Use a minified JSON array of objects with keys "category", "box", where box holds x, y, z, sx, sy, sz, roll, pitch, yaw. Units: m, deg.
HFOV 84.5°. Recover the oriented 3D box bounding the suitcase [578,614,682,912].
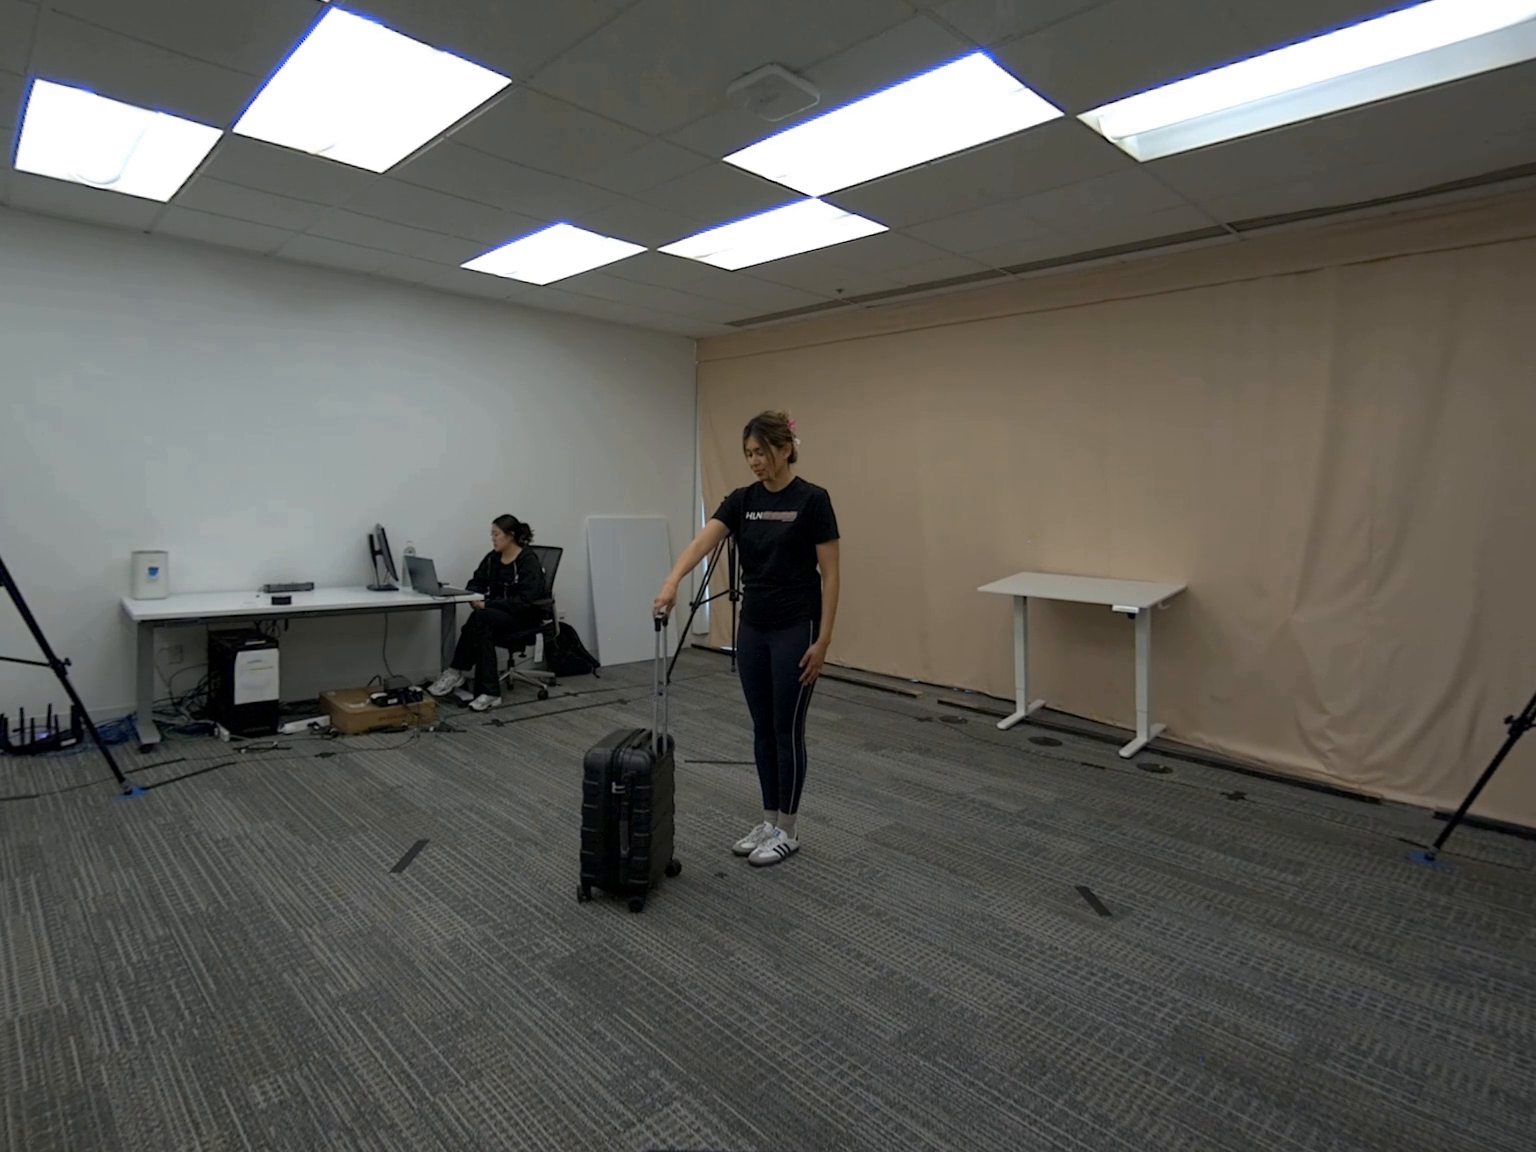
[{"category":"suitcase","box":[-0.496,0.635,2.961,0.259,0.976,0.381,1,3,11]}]
